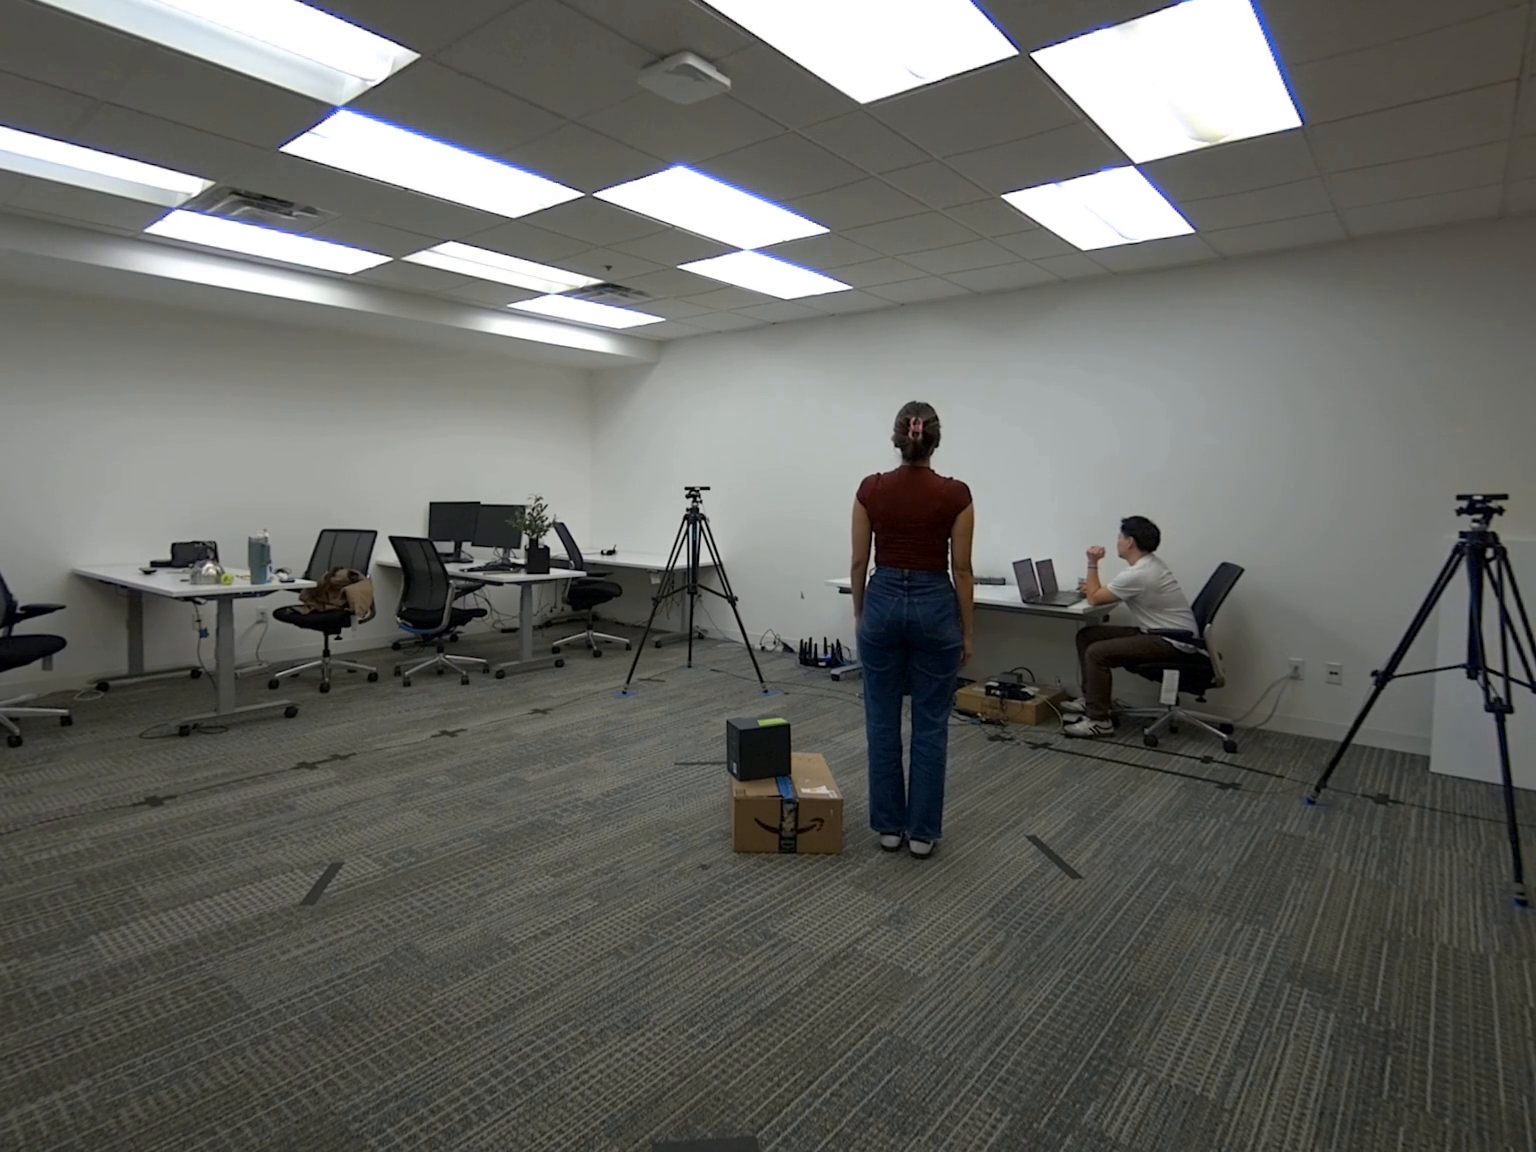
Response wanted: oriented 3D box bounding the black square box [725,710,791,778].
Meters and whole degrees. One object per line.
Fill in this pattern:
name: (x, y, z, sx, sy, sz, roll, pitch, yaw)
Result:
black square box: (-0.047, 0.692, 3.495, 0.223, 0.216, 0.159, -1, 4, -19)
